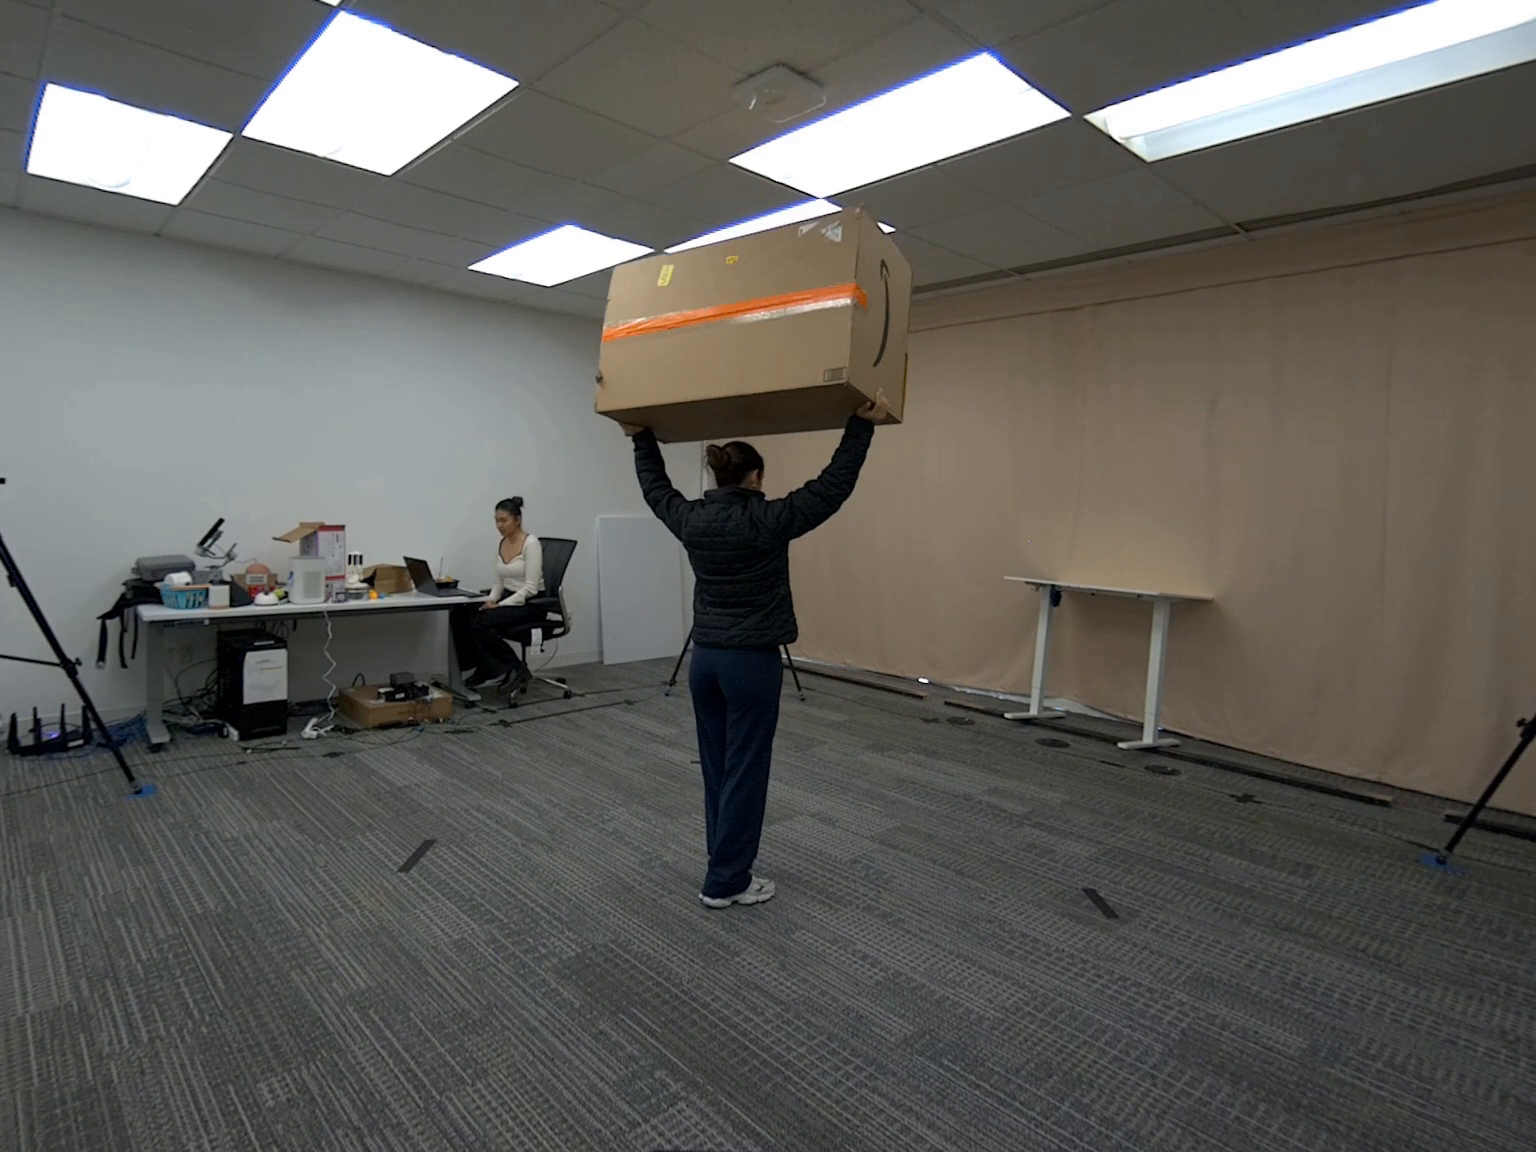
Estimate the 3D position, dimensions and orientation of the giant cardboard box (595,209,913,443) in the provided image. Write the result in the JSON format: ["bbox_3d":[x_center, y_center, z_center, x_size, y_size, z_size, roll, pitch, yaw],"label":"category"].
[{"bbox_3d":[-0.070,-0.827,2.969,1.049,0.587,0.435,1,-9,32],"label":"giant cardboard box"}]
